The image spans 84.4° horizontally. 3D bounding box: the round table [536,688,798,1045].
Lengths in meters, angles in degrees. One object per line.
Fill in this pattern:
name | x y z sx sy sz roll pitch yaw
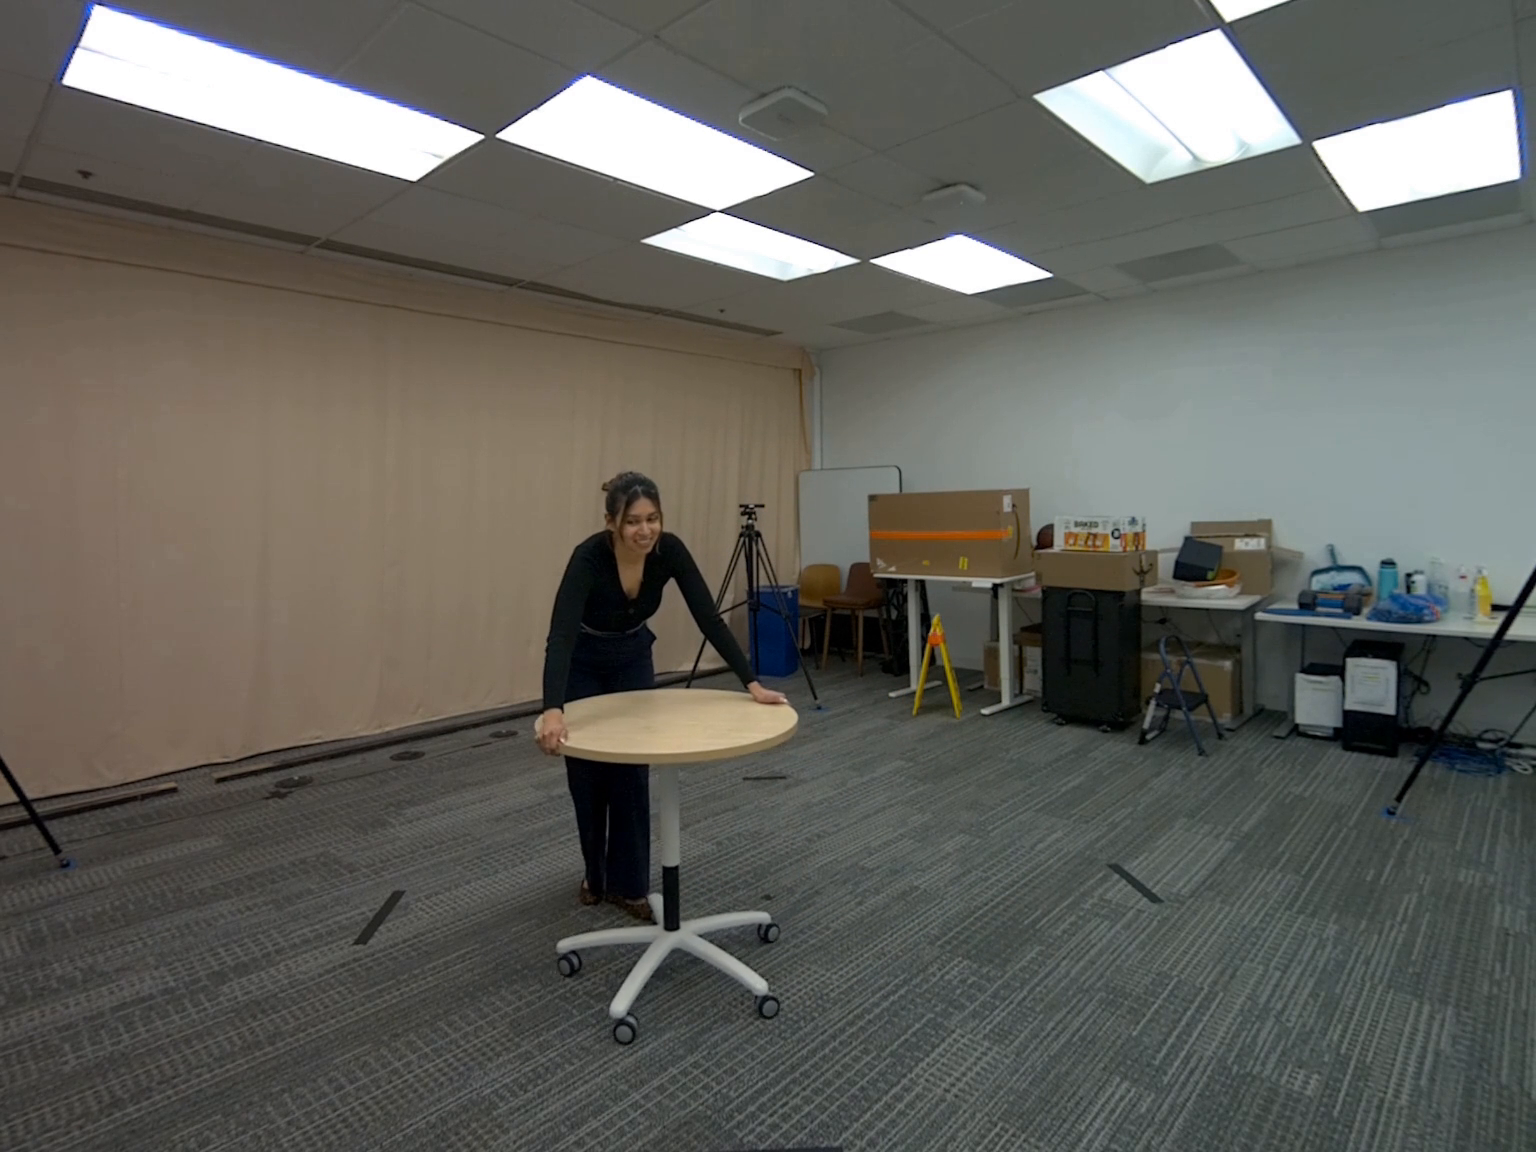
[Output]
round table | -0.276 0.802 2.489 0.763 0.792 0.767 -1 4 -2
